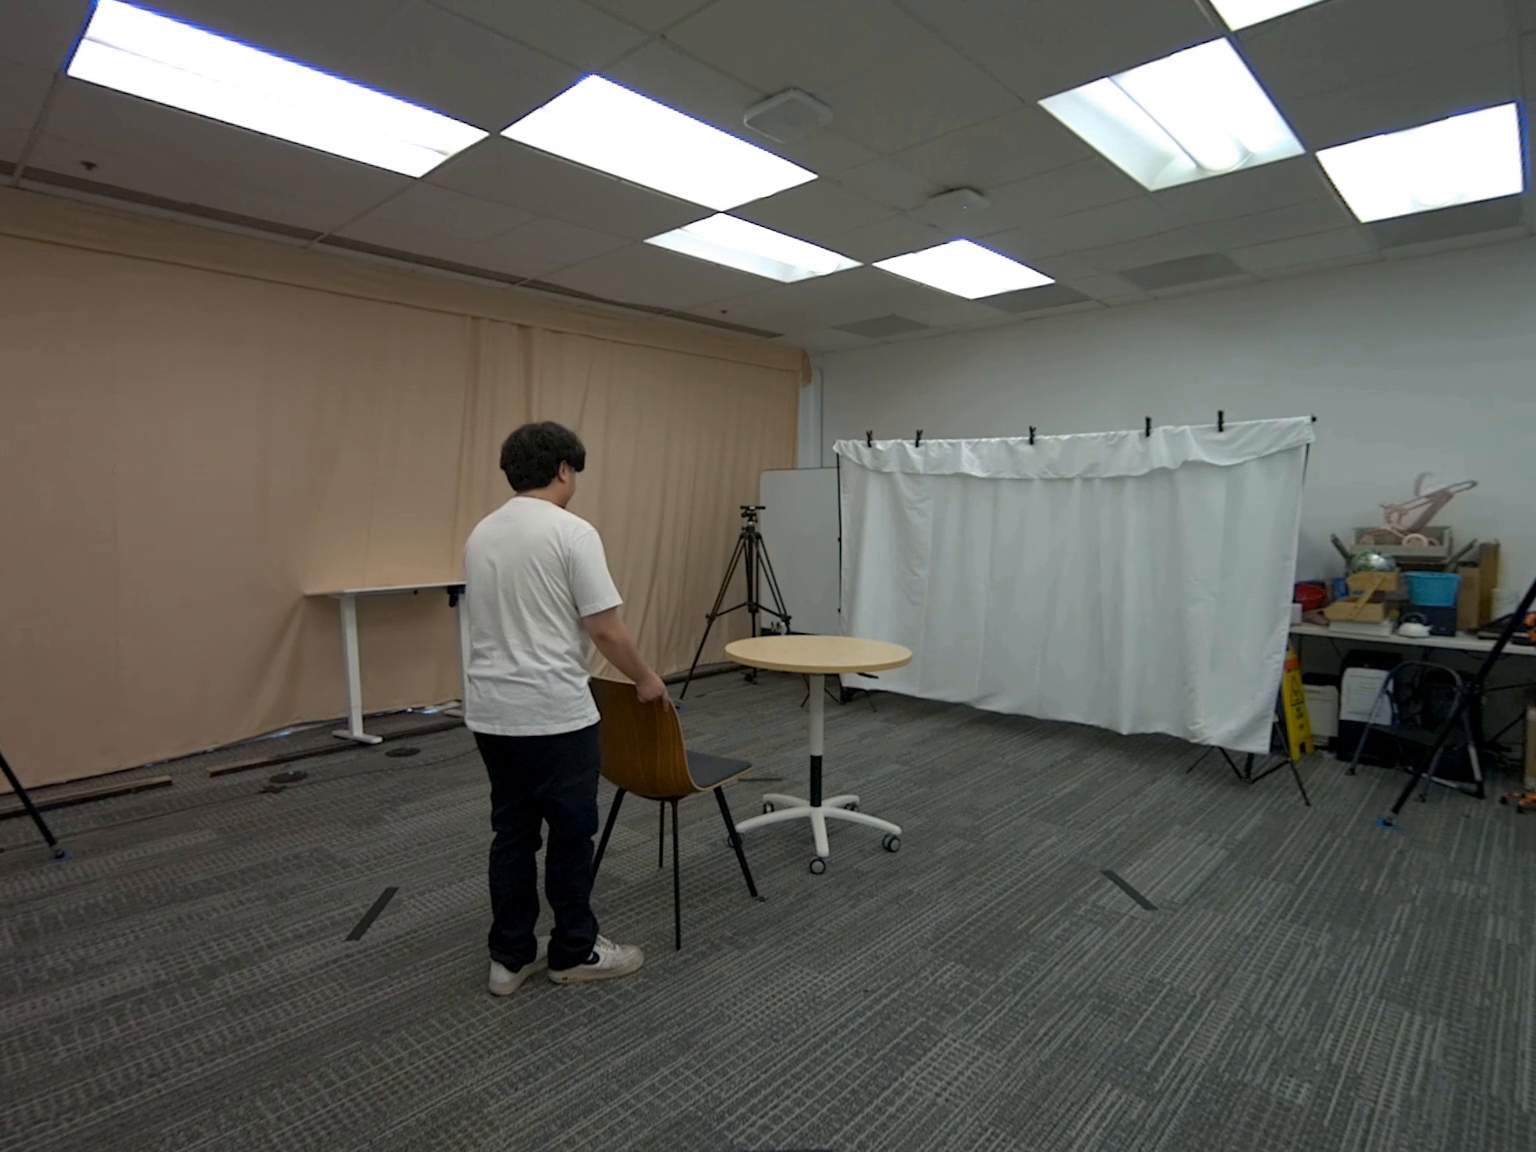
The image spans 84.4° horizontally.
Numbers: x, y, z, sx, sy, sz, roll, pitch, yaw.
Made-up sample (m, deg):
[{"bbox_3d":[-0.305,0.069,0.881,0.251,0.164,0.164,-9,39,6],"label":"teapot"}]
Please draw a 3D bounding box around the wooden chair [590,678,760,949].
[{"bbox_3d":[-0.341,0.722,2.928,0.493,0.873,0.509,1,8,35],"label":"wooden chair"}]
